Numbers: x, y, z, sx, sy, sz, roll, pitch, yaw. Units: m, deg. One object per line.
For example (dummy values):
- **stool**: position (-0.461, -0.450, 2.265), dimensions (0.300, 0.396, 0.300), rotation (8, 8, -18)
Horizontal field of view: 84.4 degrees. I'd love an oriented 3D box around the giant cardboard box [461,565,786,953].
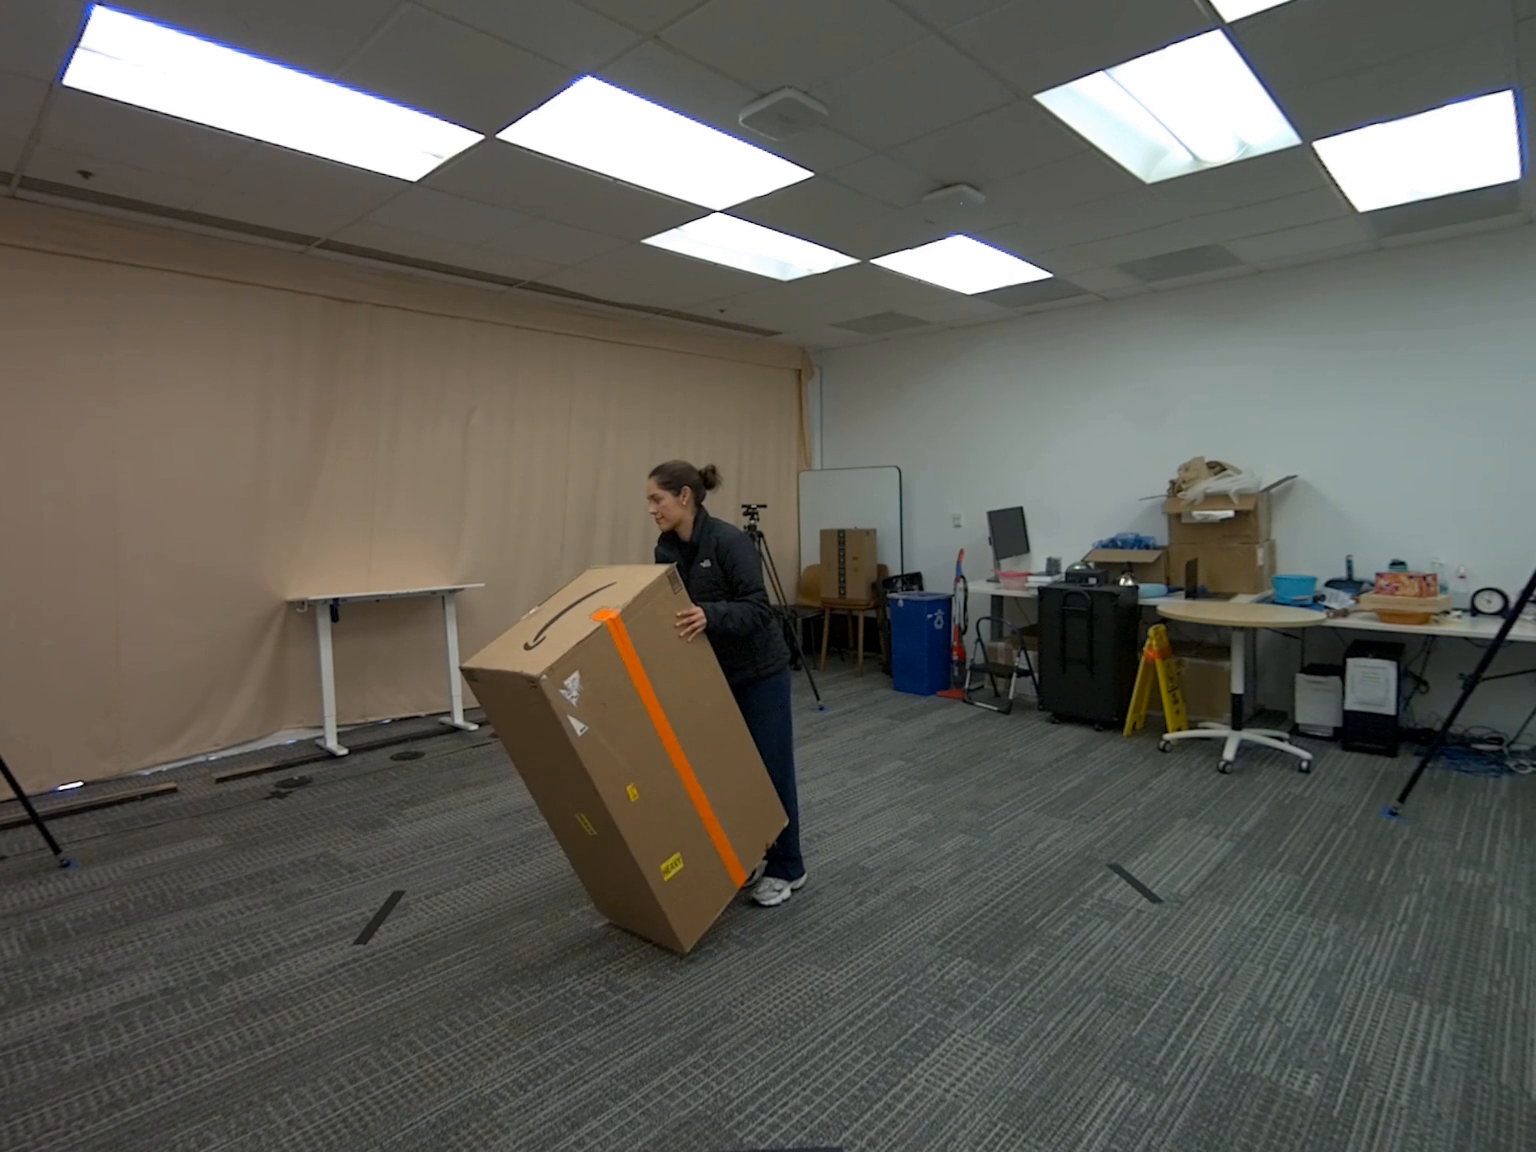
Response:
- **giant cardboard box**: position (-0.414, 0.550, 2.668), dimensions (0.440, 1.007, 0.570), rotation (-2, 27, 44)
